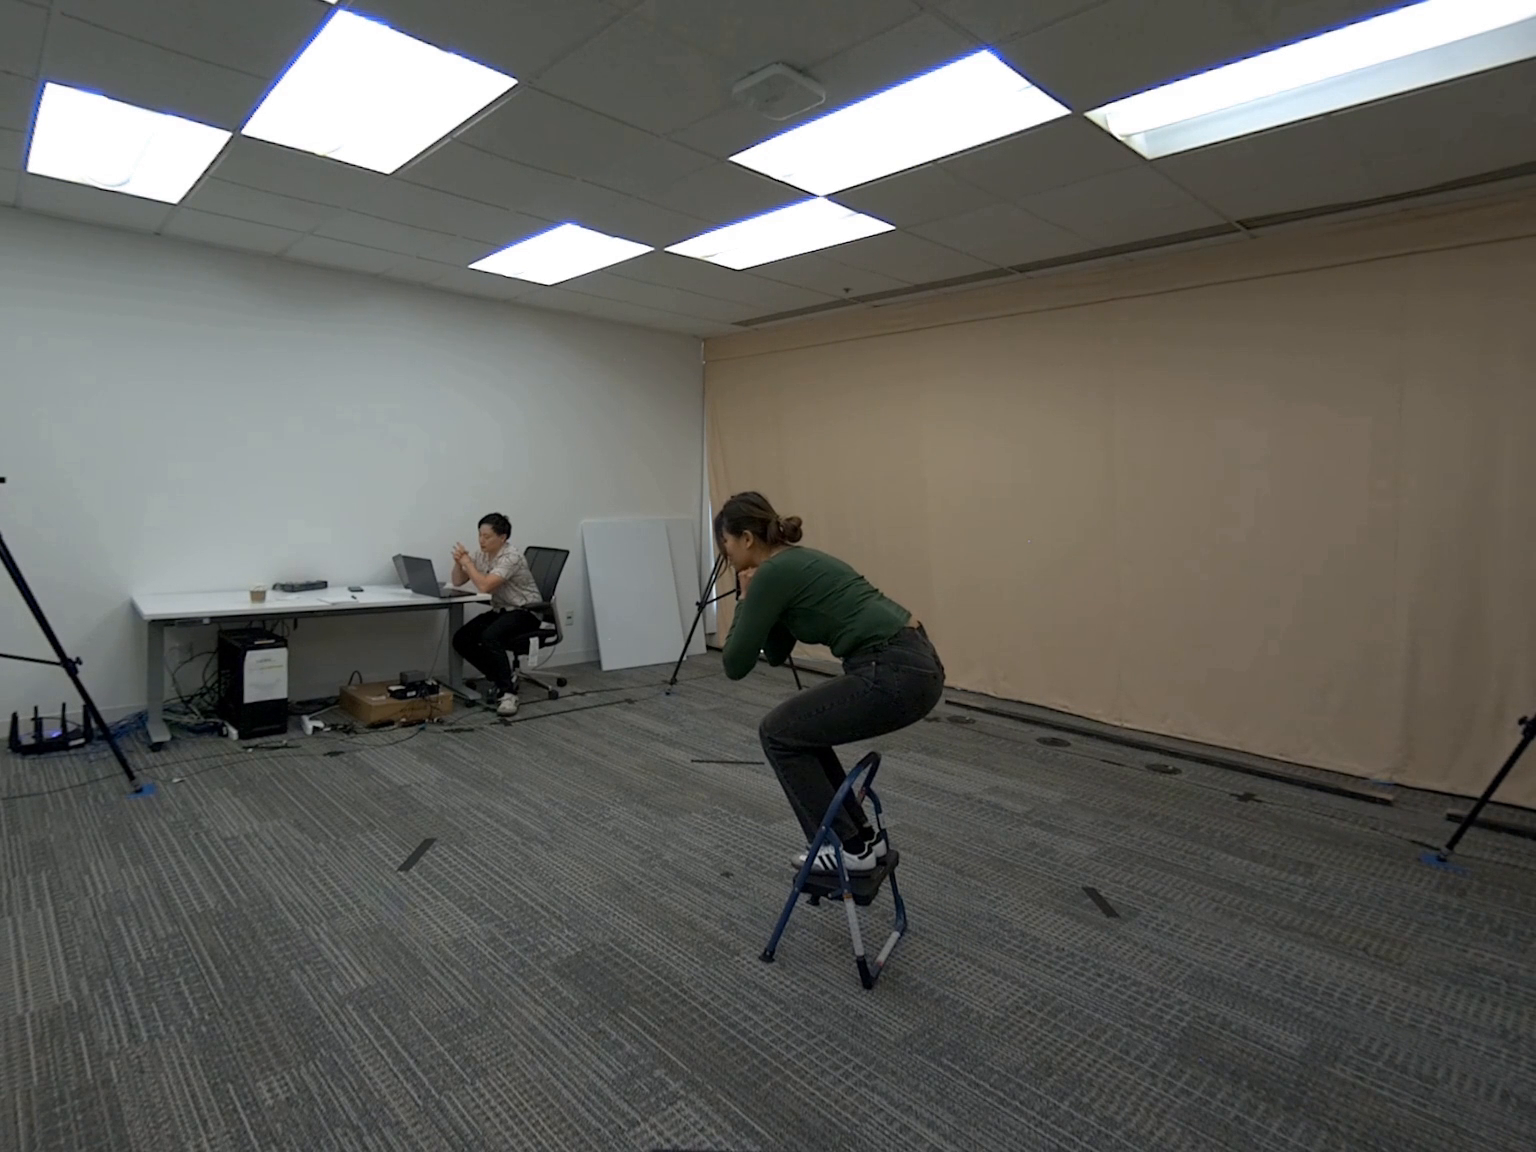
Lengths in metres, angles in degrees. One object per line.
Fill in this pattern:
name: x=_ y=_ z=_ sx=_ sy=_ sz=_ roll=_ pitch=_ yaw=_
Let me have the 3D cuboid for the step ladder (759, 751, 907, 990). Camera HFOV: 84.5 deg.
step ladder: x=0.223 y=0.854 z=2.624 sx=0.356 sy=0.604 sz=0.423 roll=3 pitch=4 yaw=25
